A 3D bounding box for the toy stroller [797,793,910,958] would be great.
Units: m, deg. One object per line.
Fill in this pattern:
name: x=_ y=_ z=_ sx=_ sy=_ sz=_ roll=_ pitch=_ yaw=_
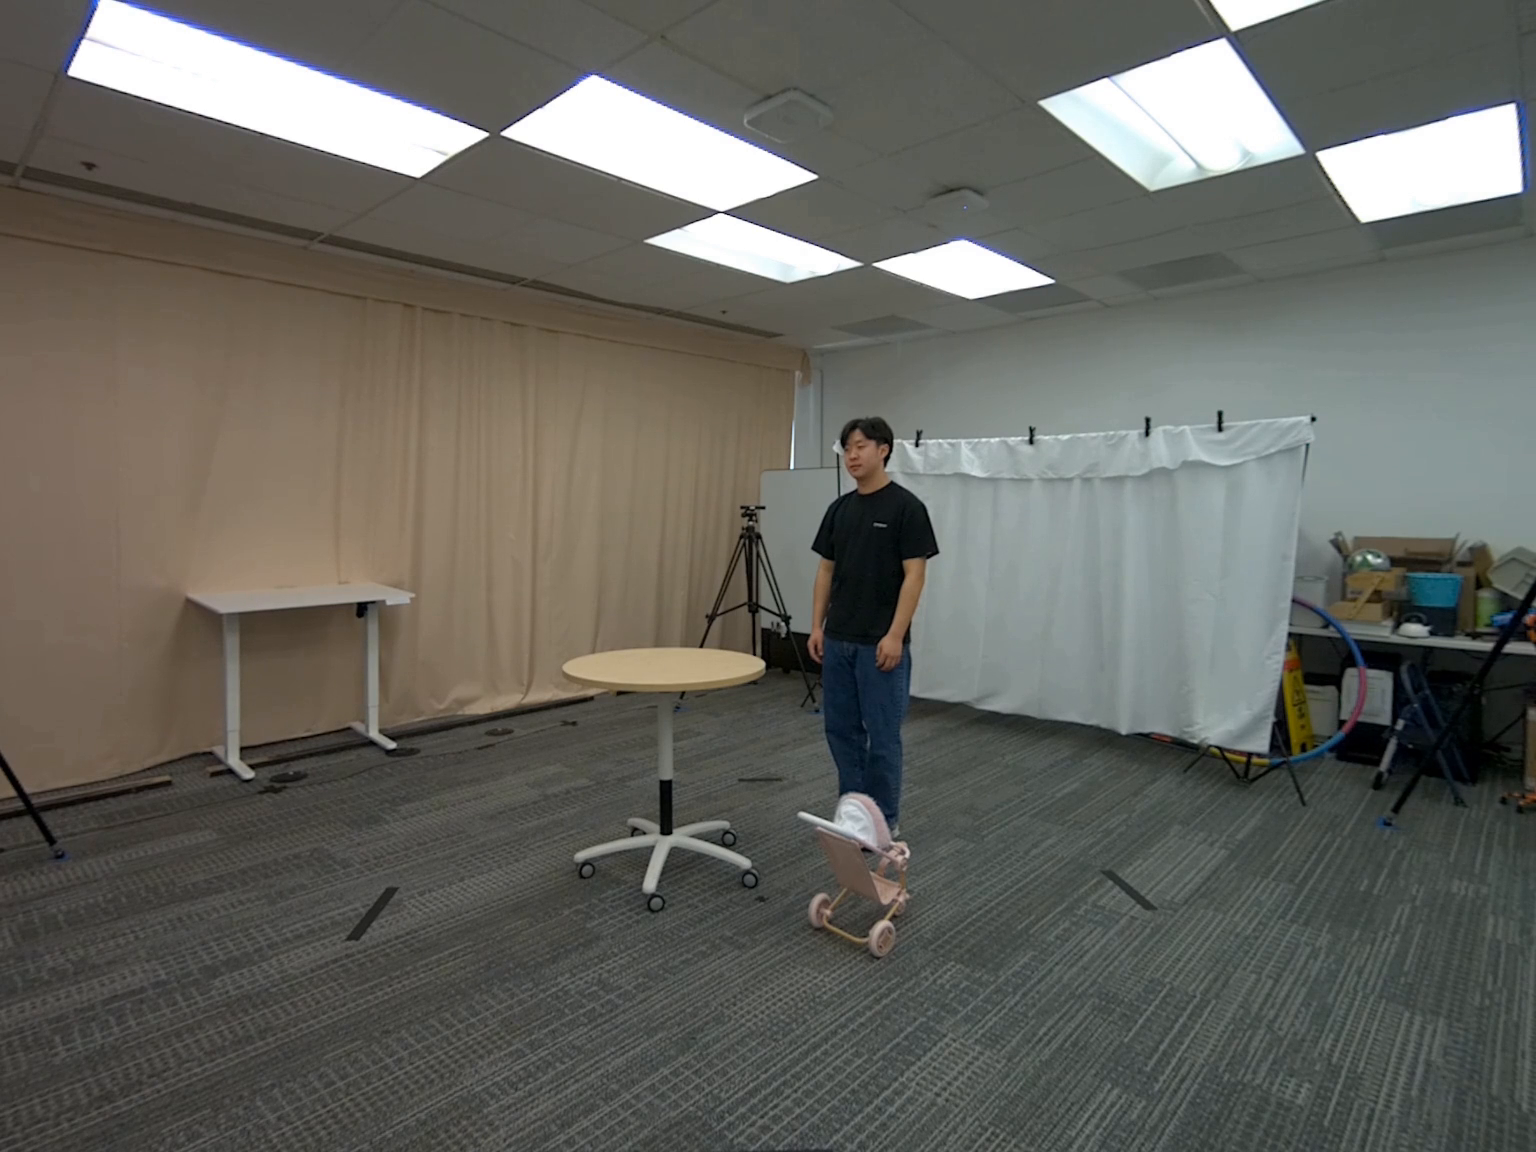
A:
toy stroller: x=0.311 y=0.940 z=2.719 sx=0.334 sy=0.529 sz=0.290 roll=-22 pitch=16 yaw=-37
